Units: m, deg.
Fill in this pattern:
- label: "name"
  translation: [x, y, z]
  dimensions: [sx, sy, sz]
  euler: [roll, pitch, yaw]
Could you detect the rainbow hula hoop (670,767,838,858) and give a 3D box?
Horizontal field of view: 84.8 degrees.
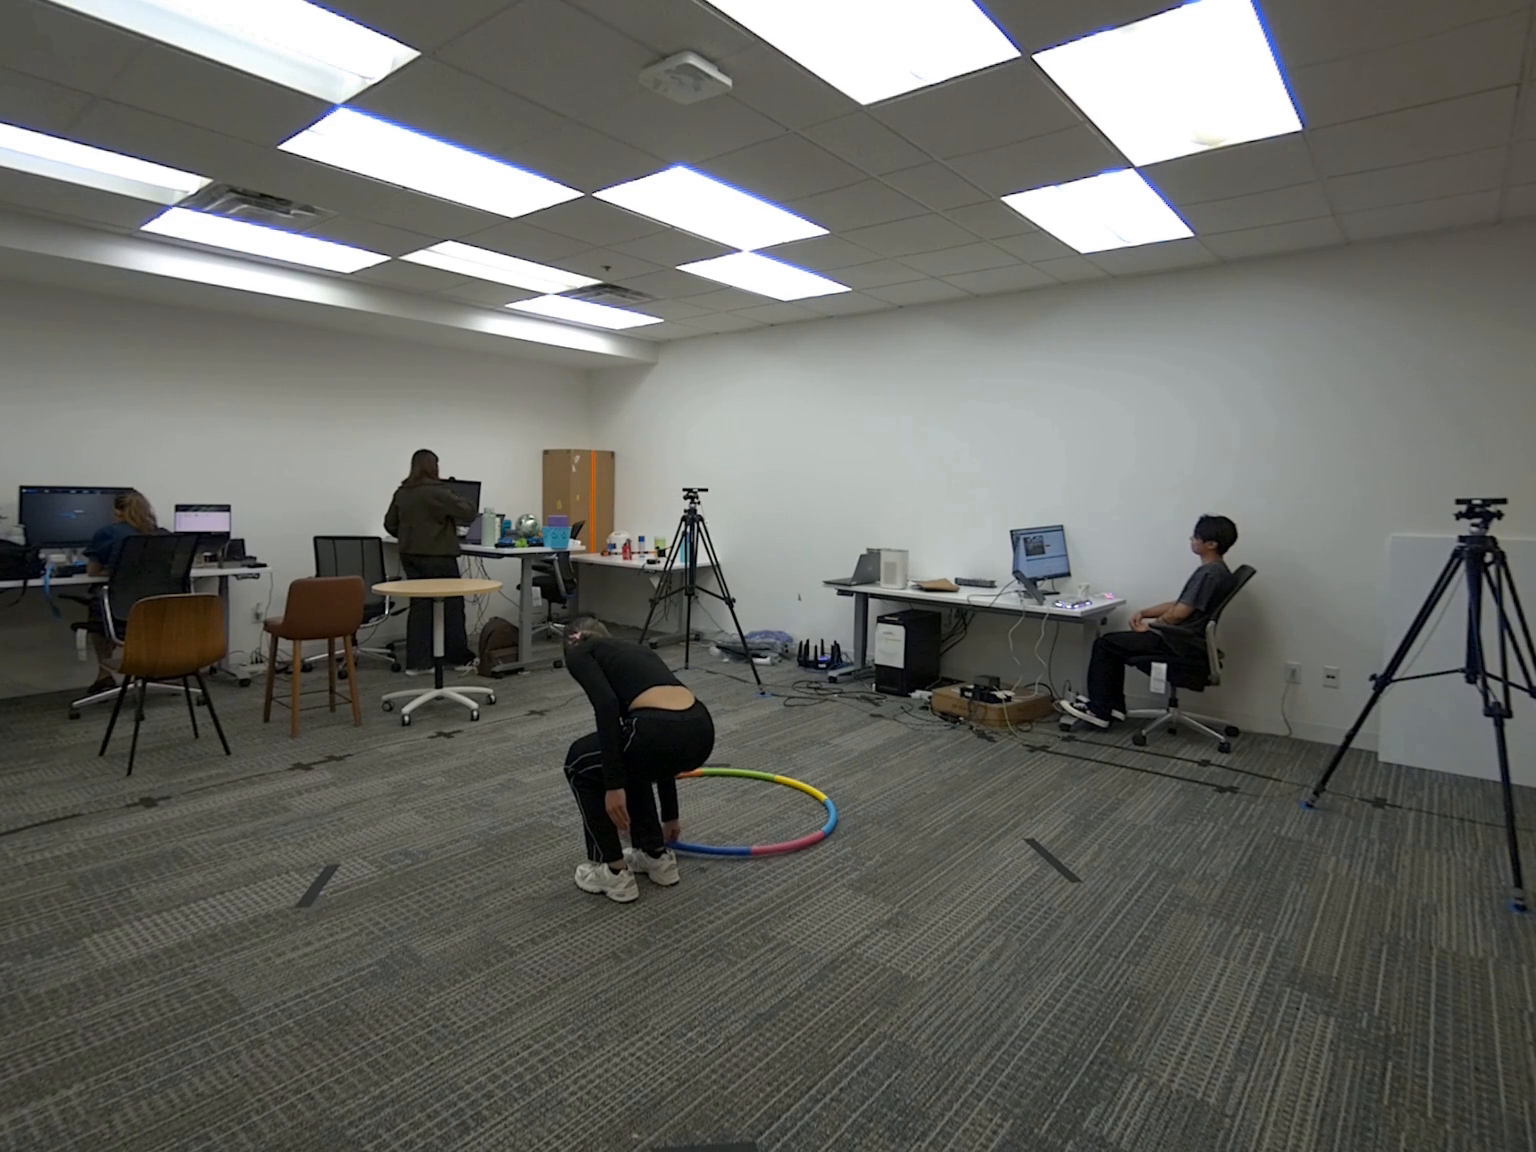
- label: "rainbow hula hoop"
  translation: [-0.205, 0.978, 3.666]
  dimensions: [0.978, 0.035, 0.983]
  euler: [1, 5, -2]
